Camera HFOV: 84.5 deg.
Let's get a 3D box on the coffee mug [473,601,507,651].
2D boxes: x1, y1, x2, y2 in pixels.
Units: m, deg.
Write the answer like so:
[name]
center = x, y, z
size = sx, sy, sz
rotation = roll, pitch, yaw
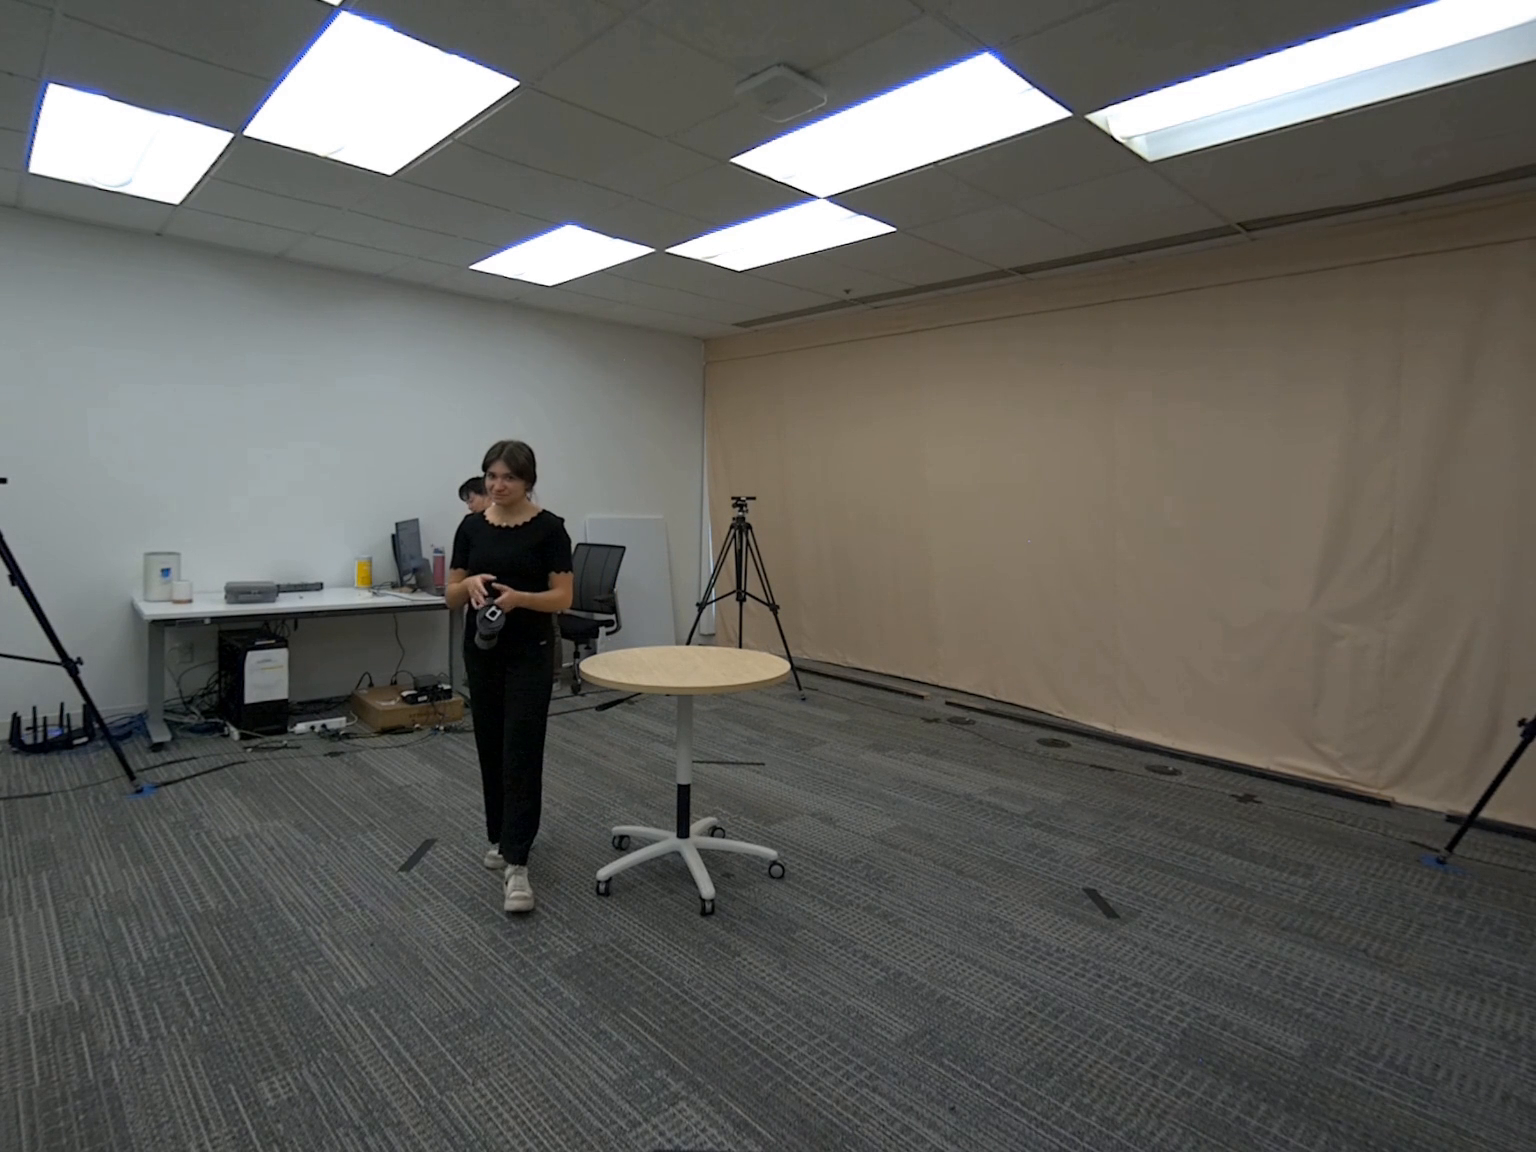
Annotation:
[coffee mug]
center = -0.944, 0.175, 2.828
size = 0.088, 0.123, 0.200
rotation = 21, -29, 3
